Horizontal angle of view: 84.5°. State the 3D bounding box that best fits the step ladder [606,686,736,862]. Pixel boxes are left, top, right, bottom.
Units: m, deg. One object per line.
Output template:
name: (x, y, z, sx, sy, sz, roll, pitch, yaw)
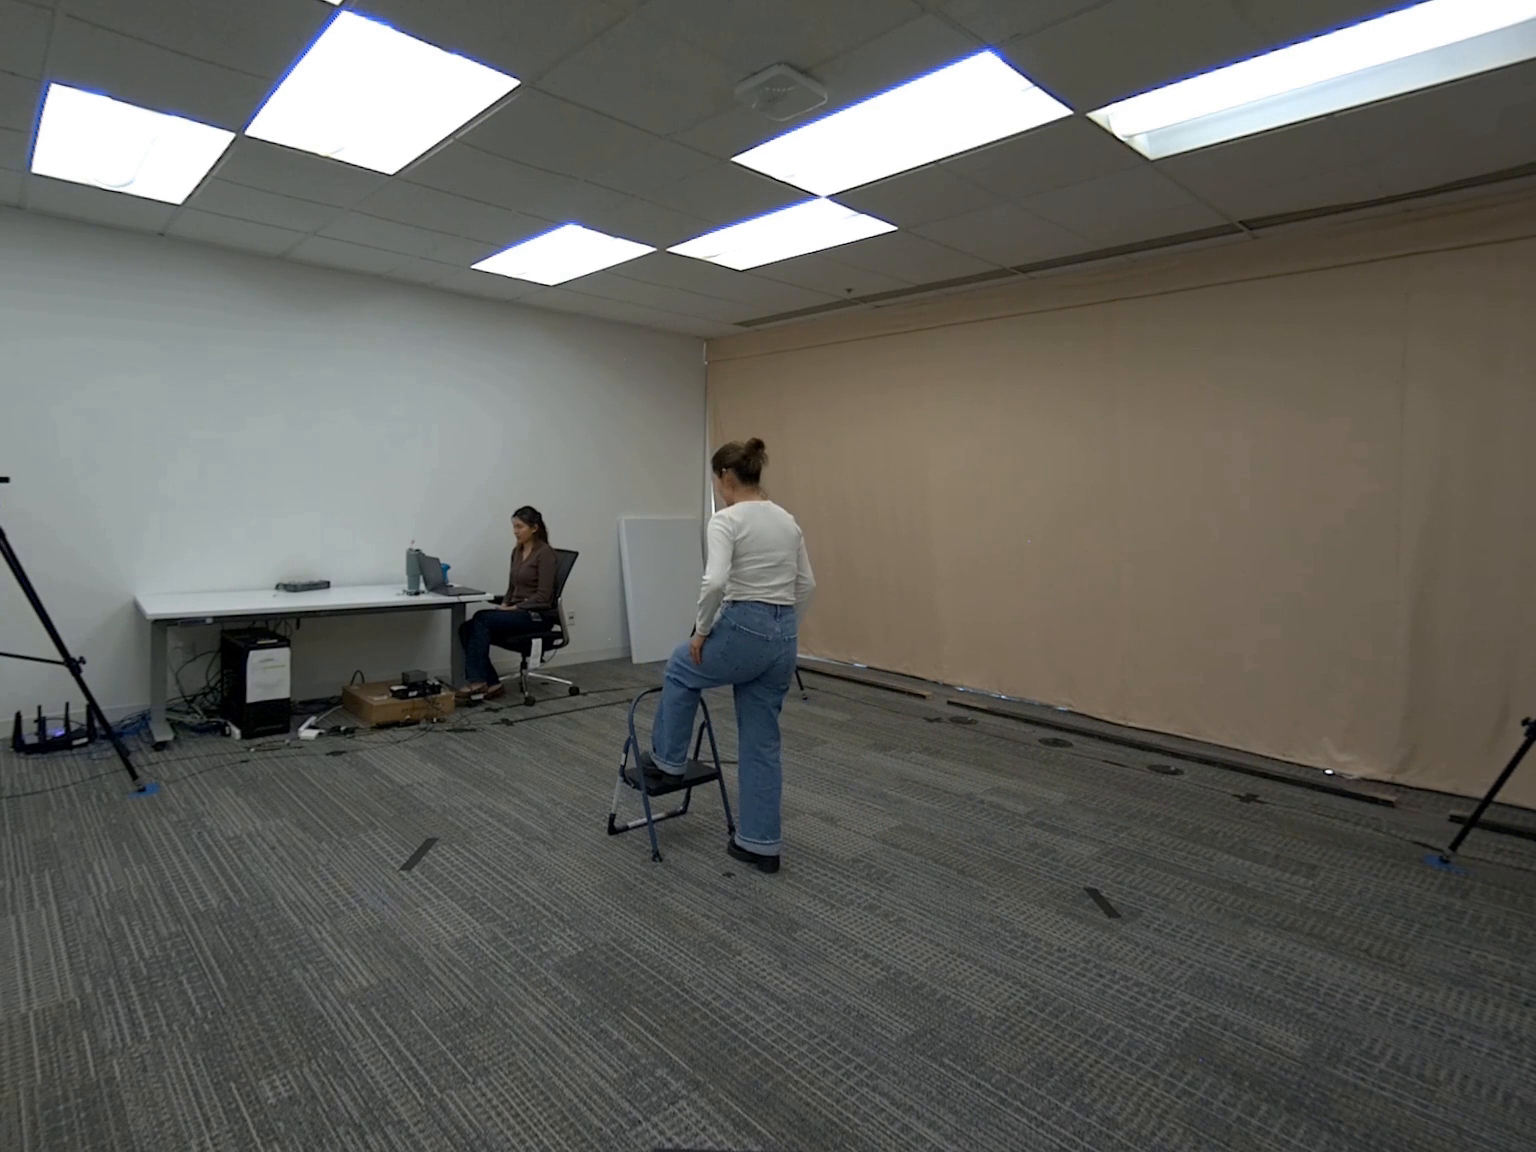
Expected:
step ladder: (-0.392, 0.763, 3.451, 0.421, 0.604, 0.358, -2, 5, -44)
